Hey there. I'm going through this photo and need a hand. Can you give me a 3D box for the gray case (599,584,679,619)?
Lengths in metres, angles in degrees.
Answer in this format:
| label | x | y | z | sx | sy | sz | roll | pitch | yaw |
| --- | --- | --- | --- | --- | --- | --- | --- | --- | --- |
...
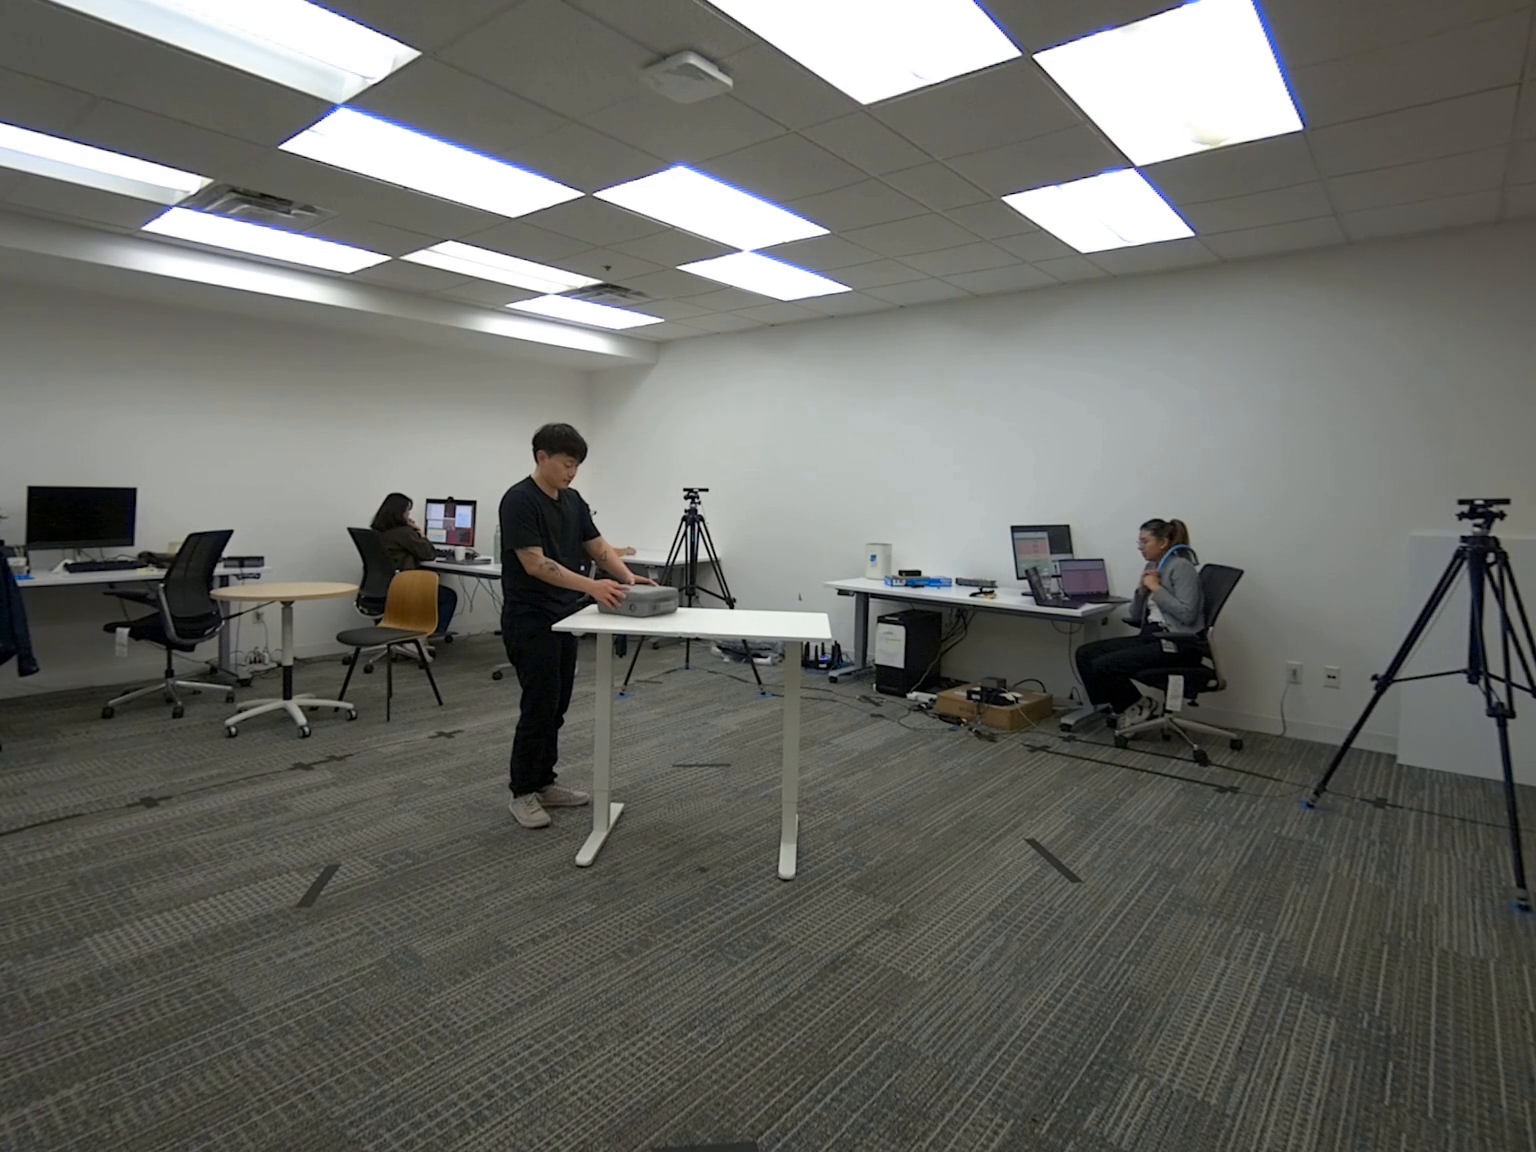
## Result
| label | x | y | z | sx | sy | sz | roll | pitch | yaw |
| --- | --- | --- | --- | --- | --- | --- | --- | --- | --- |
| gray case | -0.529 | 0.097 | 3.456 | 0.268 | 0.104 | 0.250 | 4 | 5 | 31 |
